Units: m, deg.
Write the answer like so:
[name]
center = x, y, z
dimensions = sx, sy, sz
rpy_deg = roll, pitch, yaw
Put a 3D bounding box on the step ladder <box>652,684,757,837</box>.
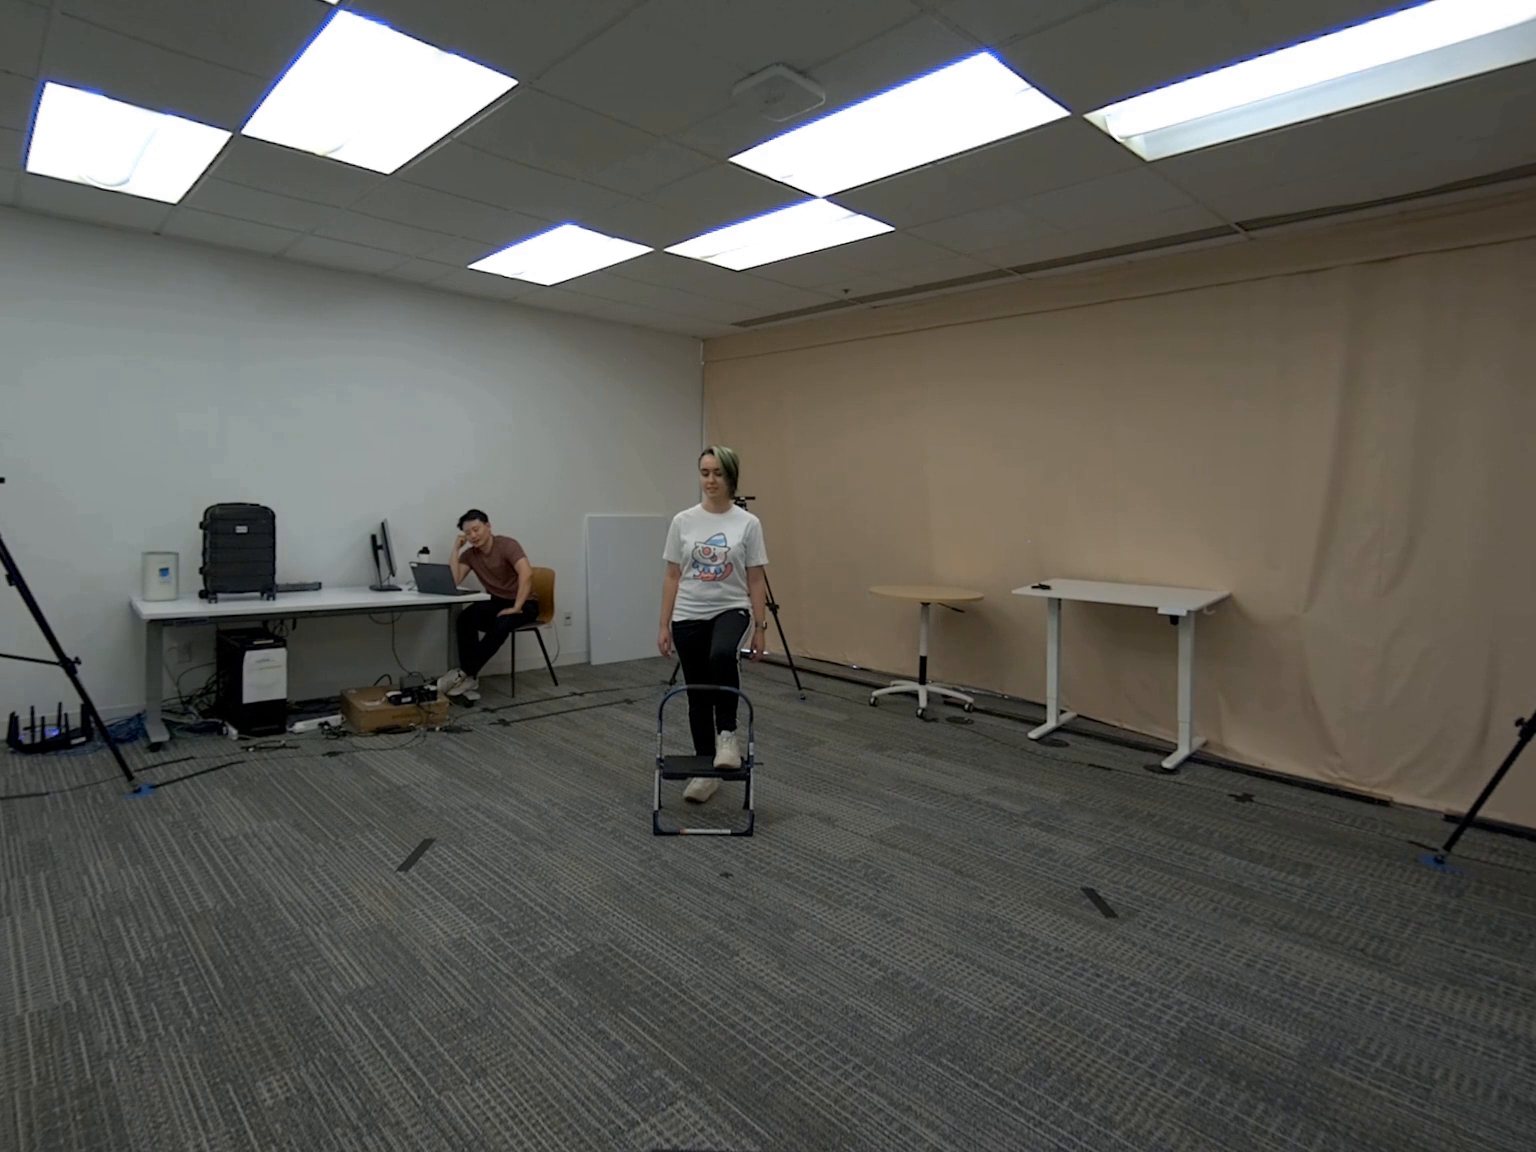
[step ladder]
center = -0.284, 0.760, 3.615
dimensions = 0.429, 0.605, 0.351
rpy_deg = 1, 3, -5
